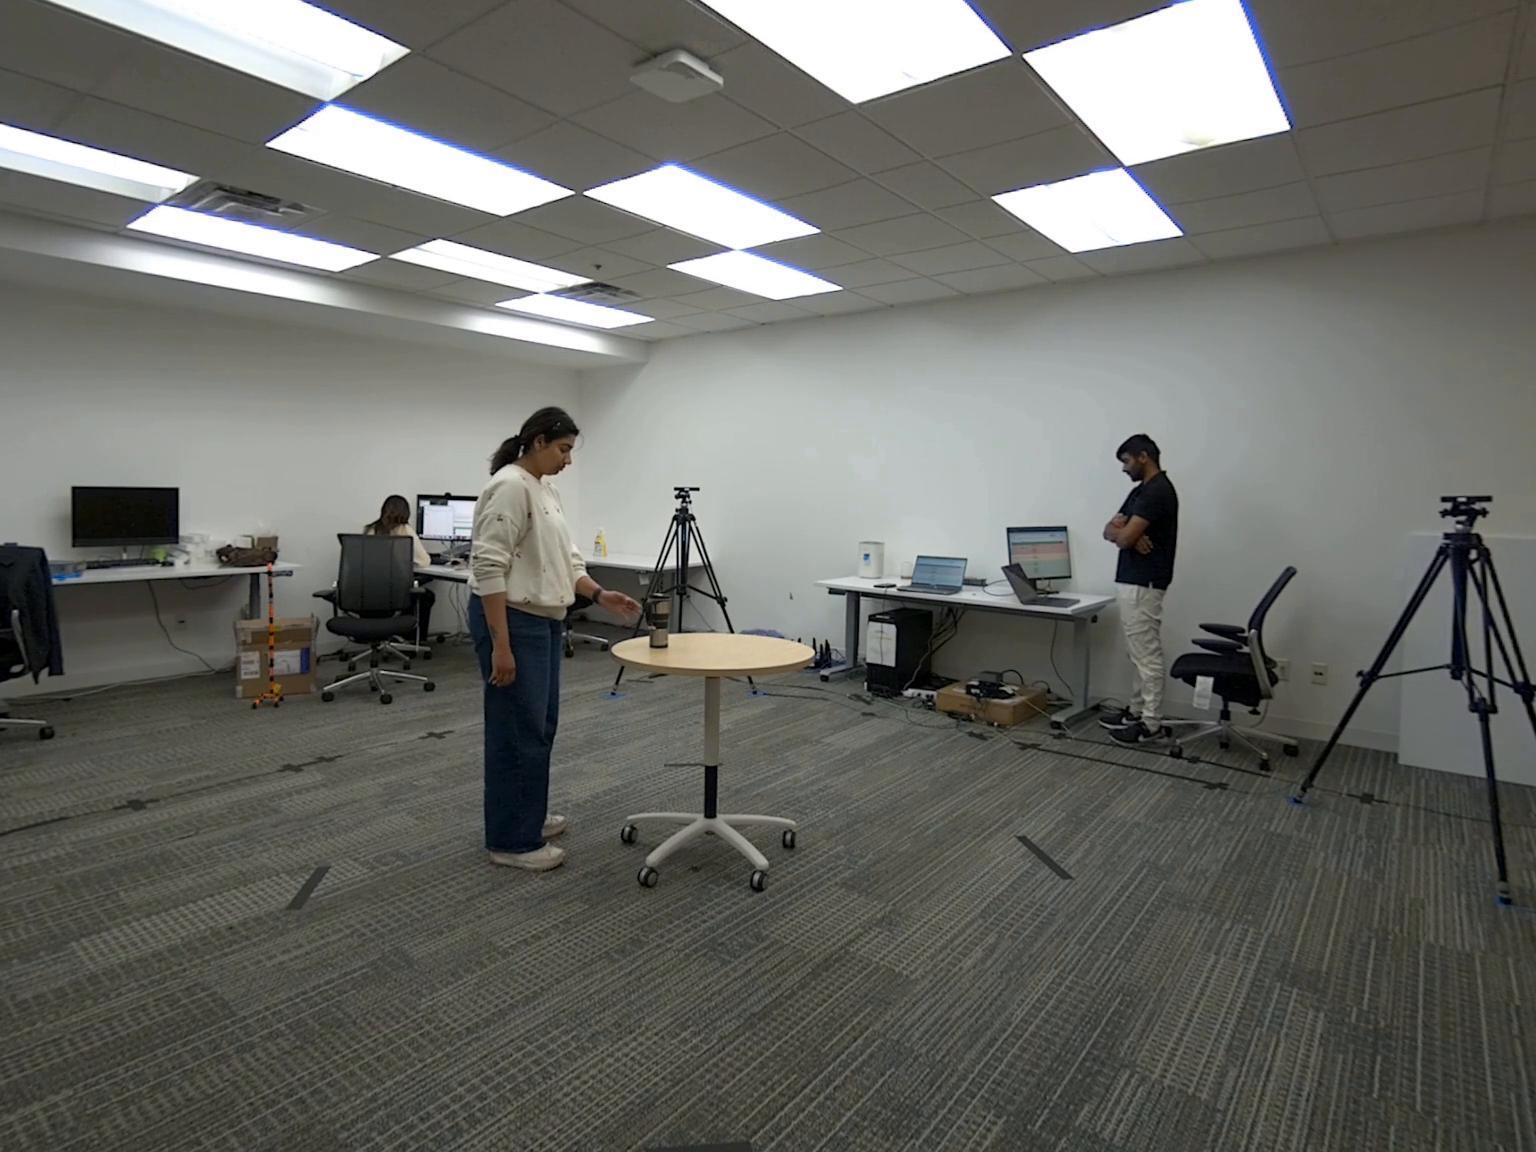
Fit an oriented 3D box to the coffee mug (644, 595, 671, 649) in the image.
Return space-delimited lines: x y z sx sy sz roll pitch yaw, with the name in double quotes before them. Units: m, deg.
"coffee mug" -0.446 0.176 3.223 0.118 0.203 0.091 1 2 -36
